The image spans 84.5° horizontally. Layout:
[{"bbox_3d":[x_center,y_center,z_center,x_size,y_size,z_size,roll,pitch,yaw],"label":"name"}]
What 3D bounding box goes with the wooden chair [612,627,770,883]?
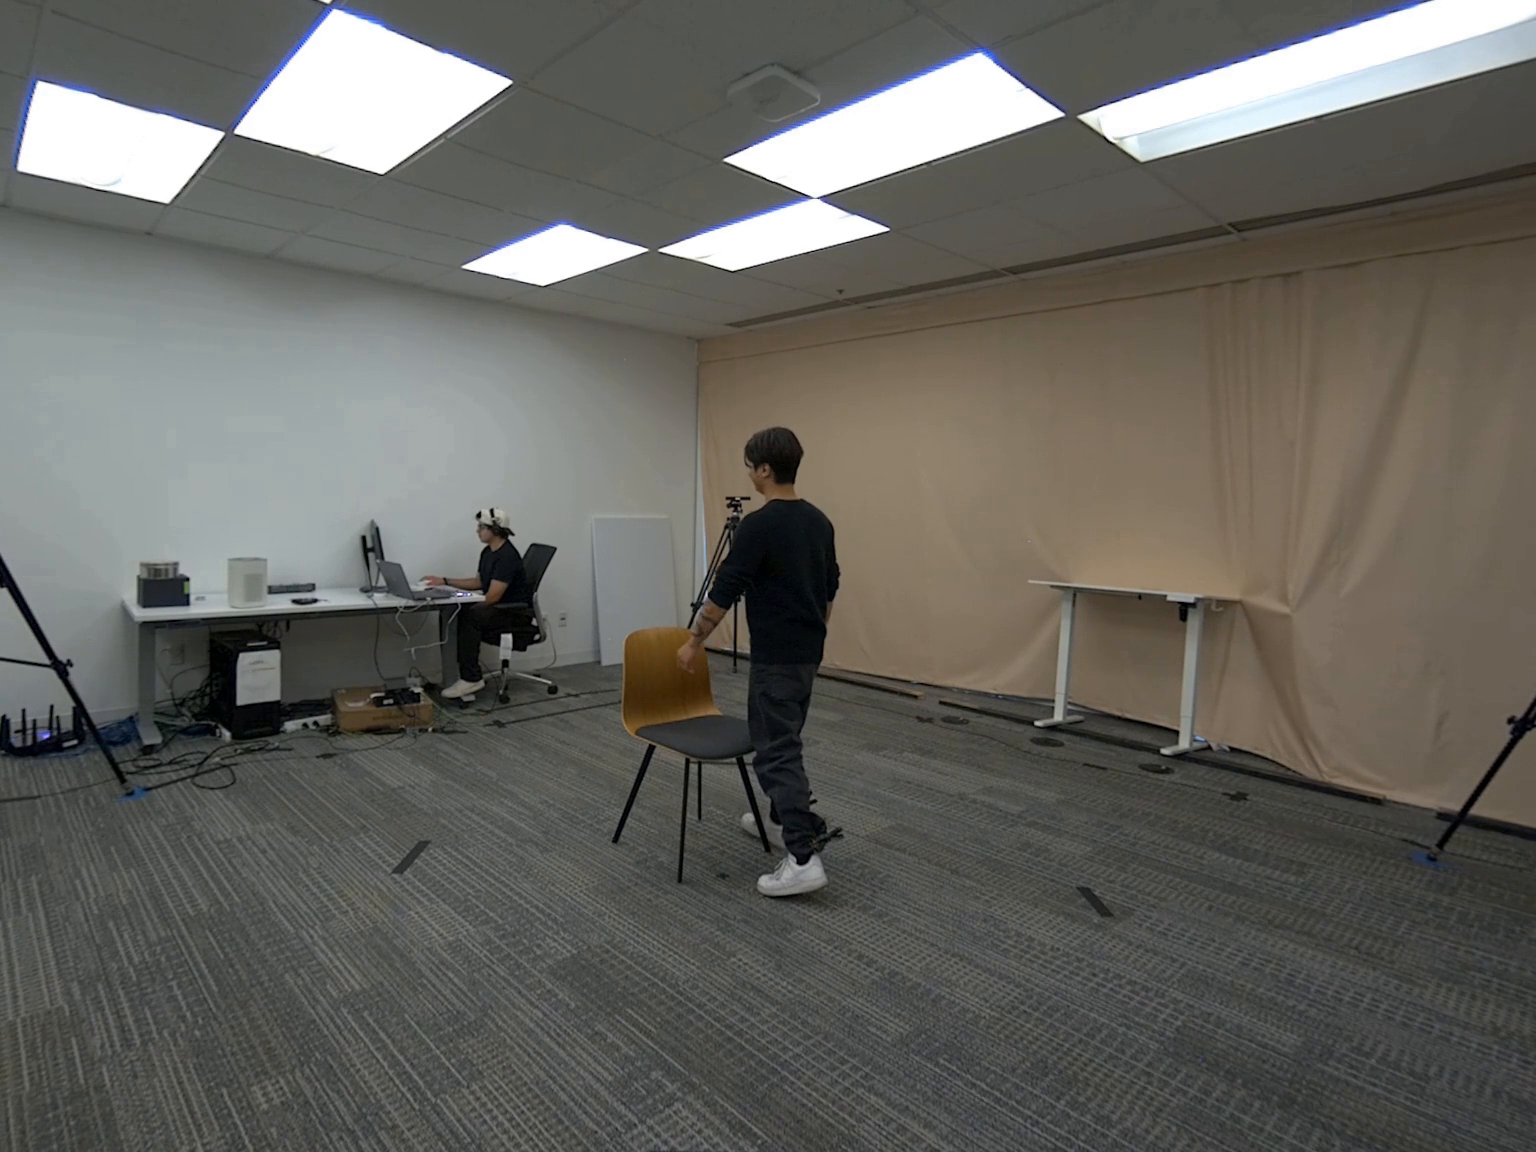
[{"bbox_3d":[-0.297,0.654,3.313,0.467,0.878,0.535,-1,0,-41],"label":"wooden chair"}]
